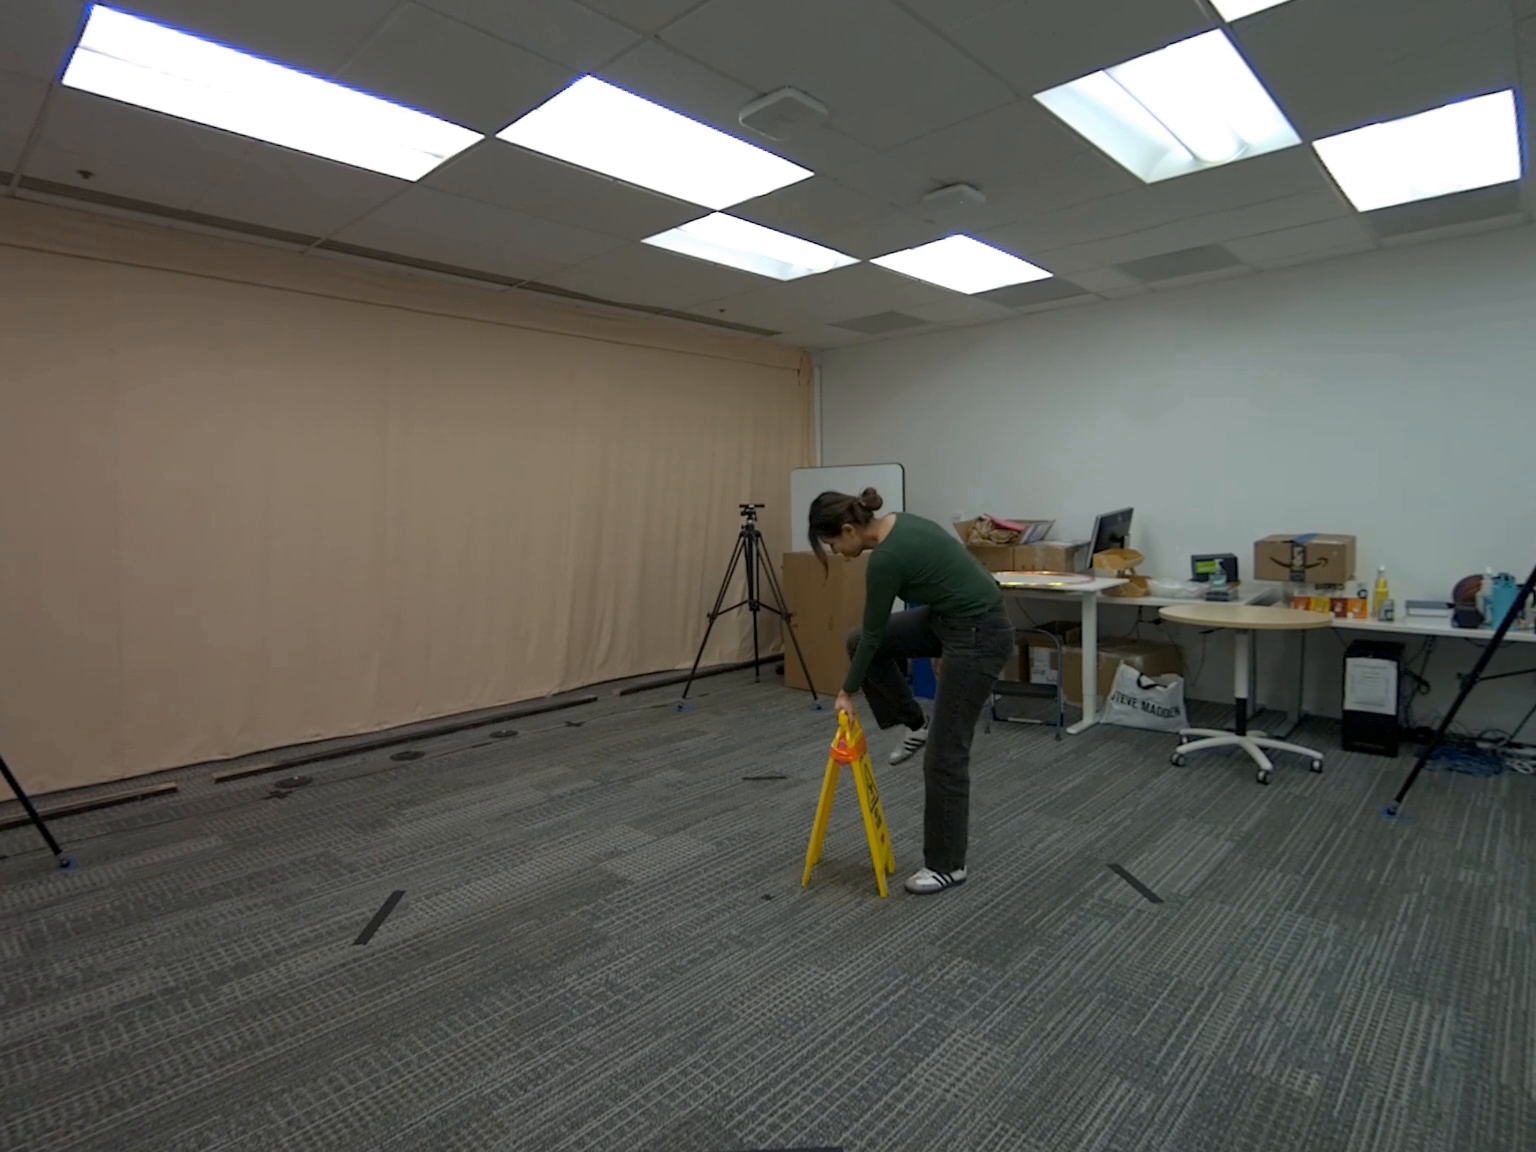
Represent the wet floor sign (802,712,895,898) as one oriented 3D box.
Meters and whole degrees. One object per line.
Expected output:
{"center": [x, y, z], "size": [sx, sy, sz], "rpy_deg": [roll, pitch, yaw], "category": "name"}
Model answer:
{"center": [0.298, 0.798, 3.119], "size": [0.295, 0.645, 0.277], "rpy_deg": [0, 3, 18], "category": "wet floor sign"}
